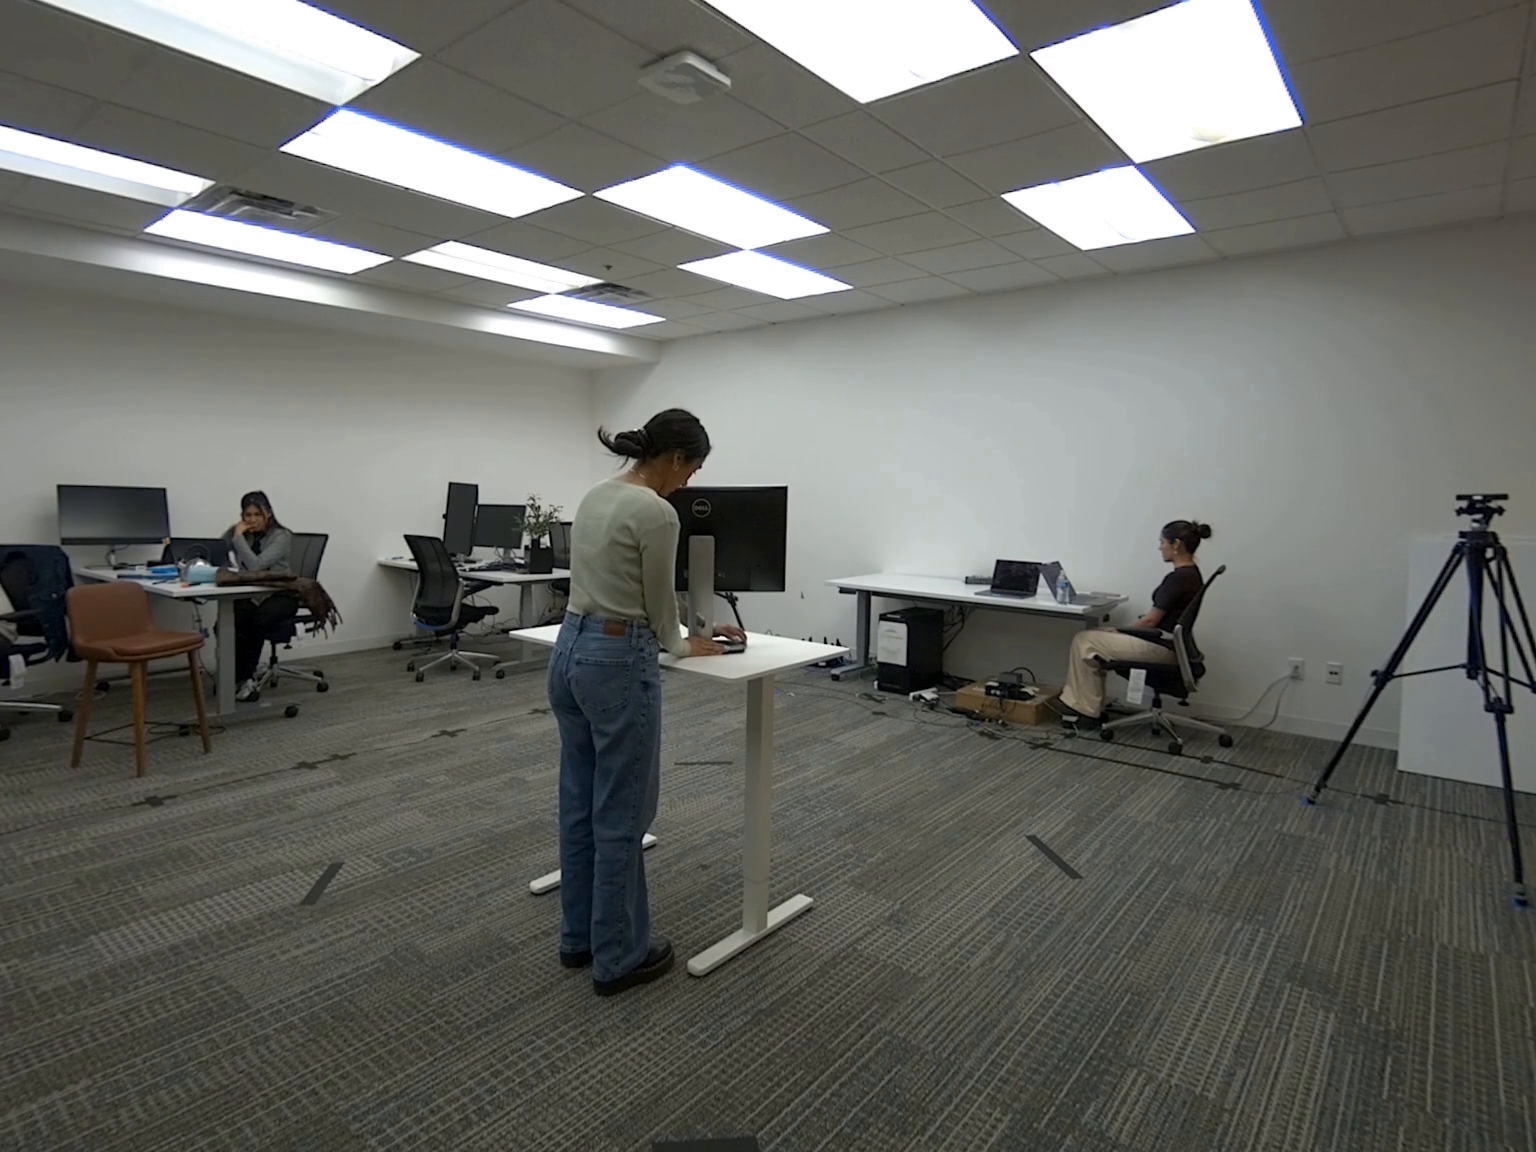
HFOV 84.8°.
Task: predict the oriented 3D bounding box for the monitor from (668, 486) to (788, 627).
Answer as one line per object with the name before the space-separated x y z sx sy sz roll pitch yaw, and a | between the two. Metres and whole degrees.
monitor | -0.211 -0.028 2.662 0.528 0.515 0.175 -1 1 -3
